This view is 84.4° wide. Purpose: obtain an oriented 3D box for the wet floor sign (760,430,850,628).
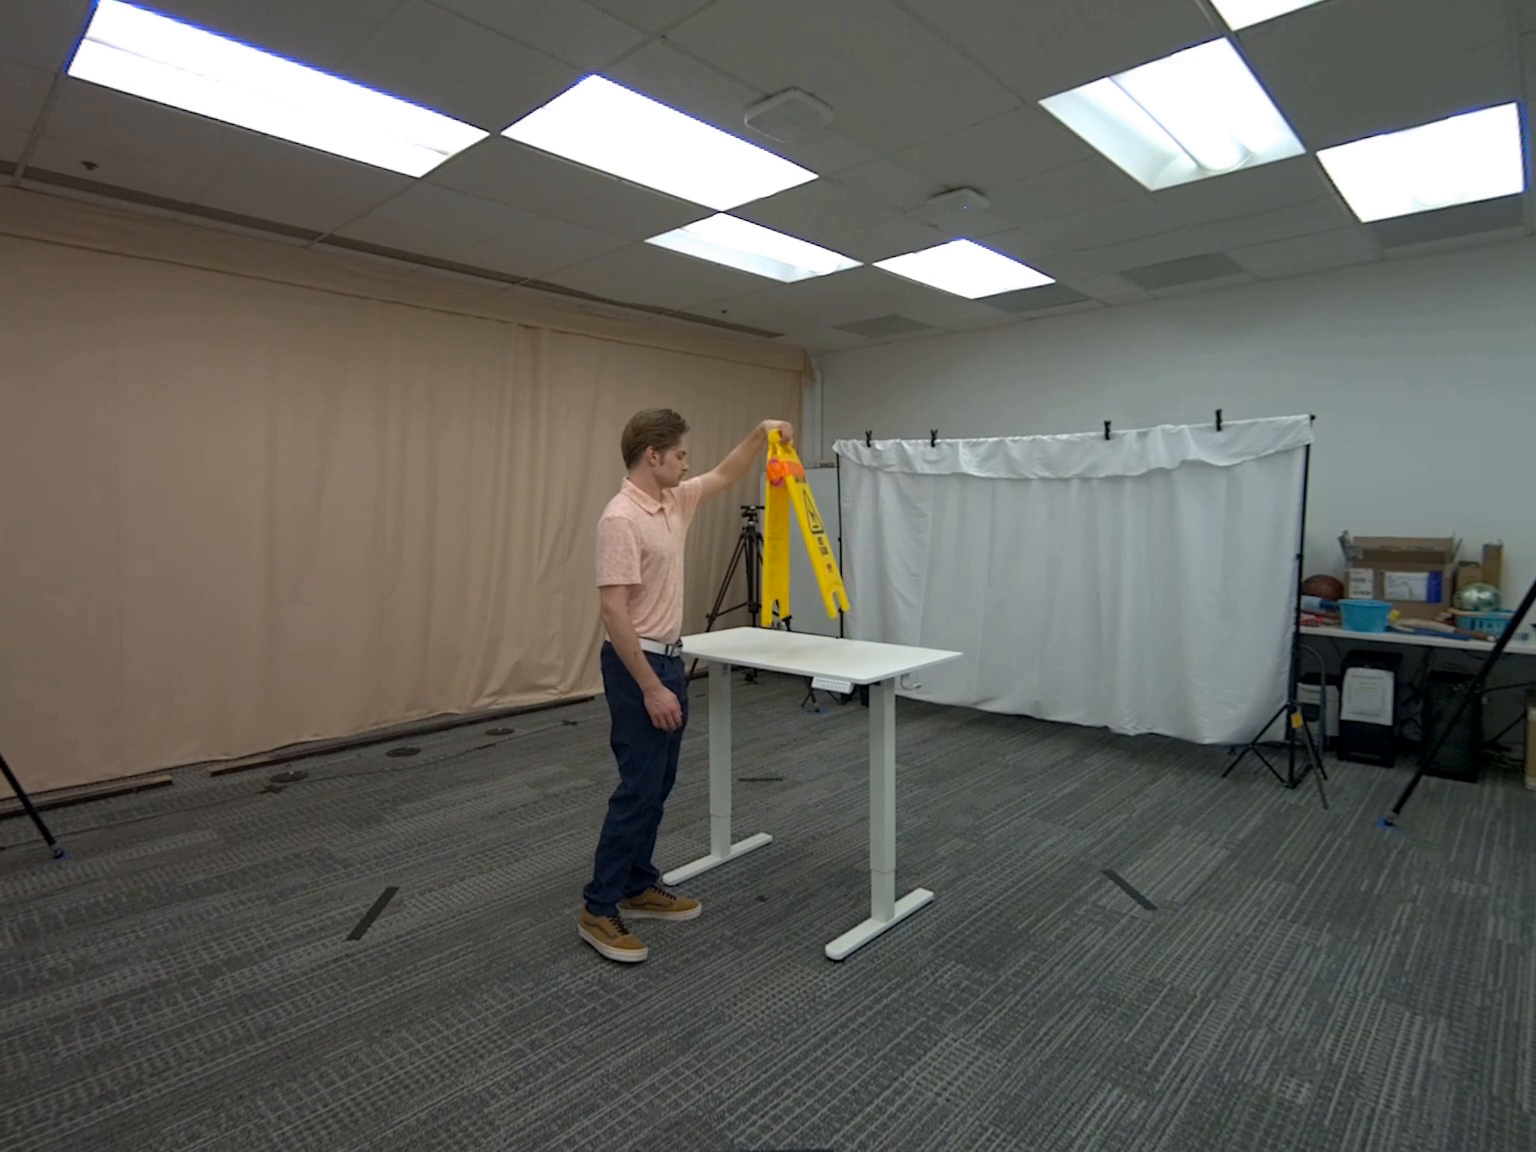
[{"bbox_3d":[0.082,-0.174,2.898,0.295,0.646,0.277,-9,-1,18],"label":"wet floor sign"}]
